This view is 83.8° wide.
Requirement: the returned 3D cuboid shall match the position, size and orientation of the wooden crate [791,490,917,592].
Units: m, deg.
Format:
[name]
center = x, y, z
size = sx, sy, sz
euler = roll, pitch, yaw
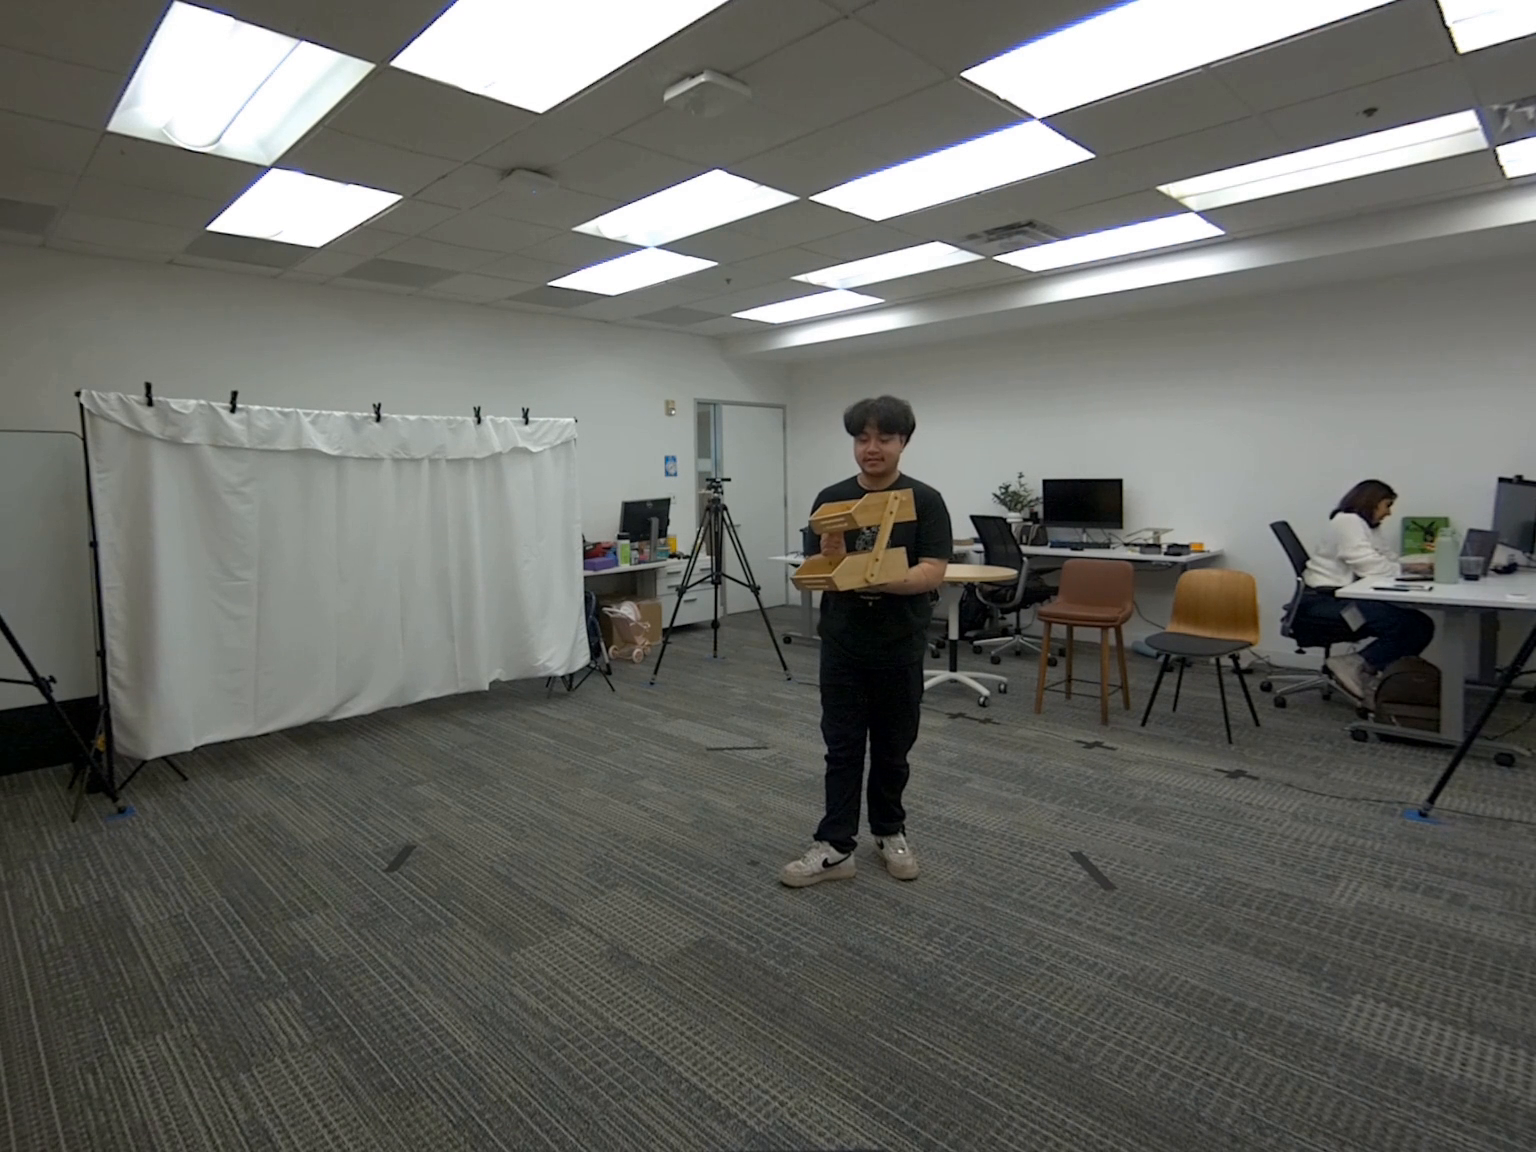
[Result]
[wooden crate]
center = 0.243, -0.109, 2.602
size = 0.297, 0.273, 0.330
euler = -9, 1, -22
